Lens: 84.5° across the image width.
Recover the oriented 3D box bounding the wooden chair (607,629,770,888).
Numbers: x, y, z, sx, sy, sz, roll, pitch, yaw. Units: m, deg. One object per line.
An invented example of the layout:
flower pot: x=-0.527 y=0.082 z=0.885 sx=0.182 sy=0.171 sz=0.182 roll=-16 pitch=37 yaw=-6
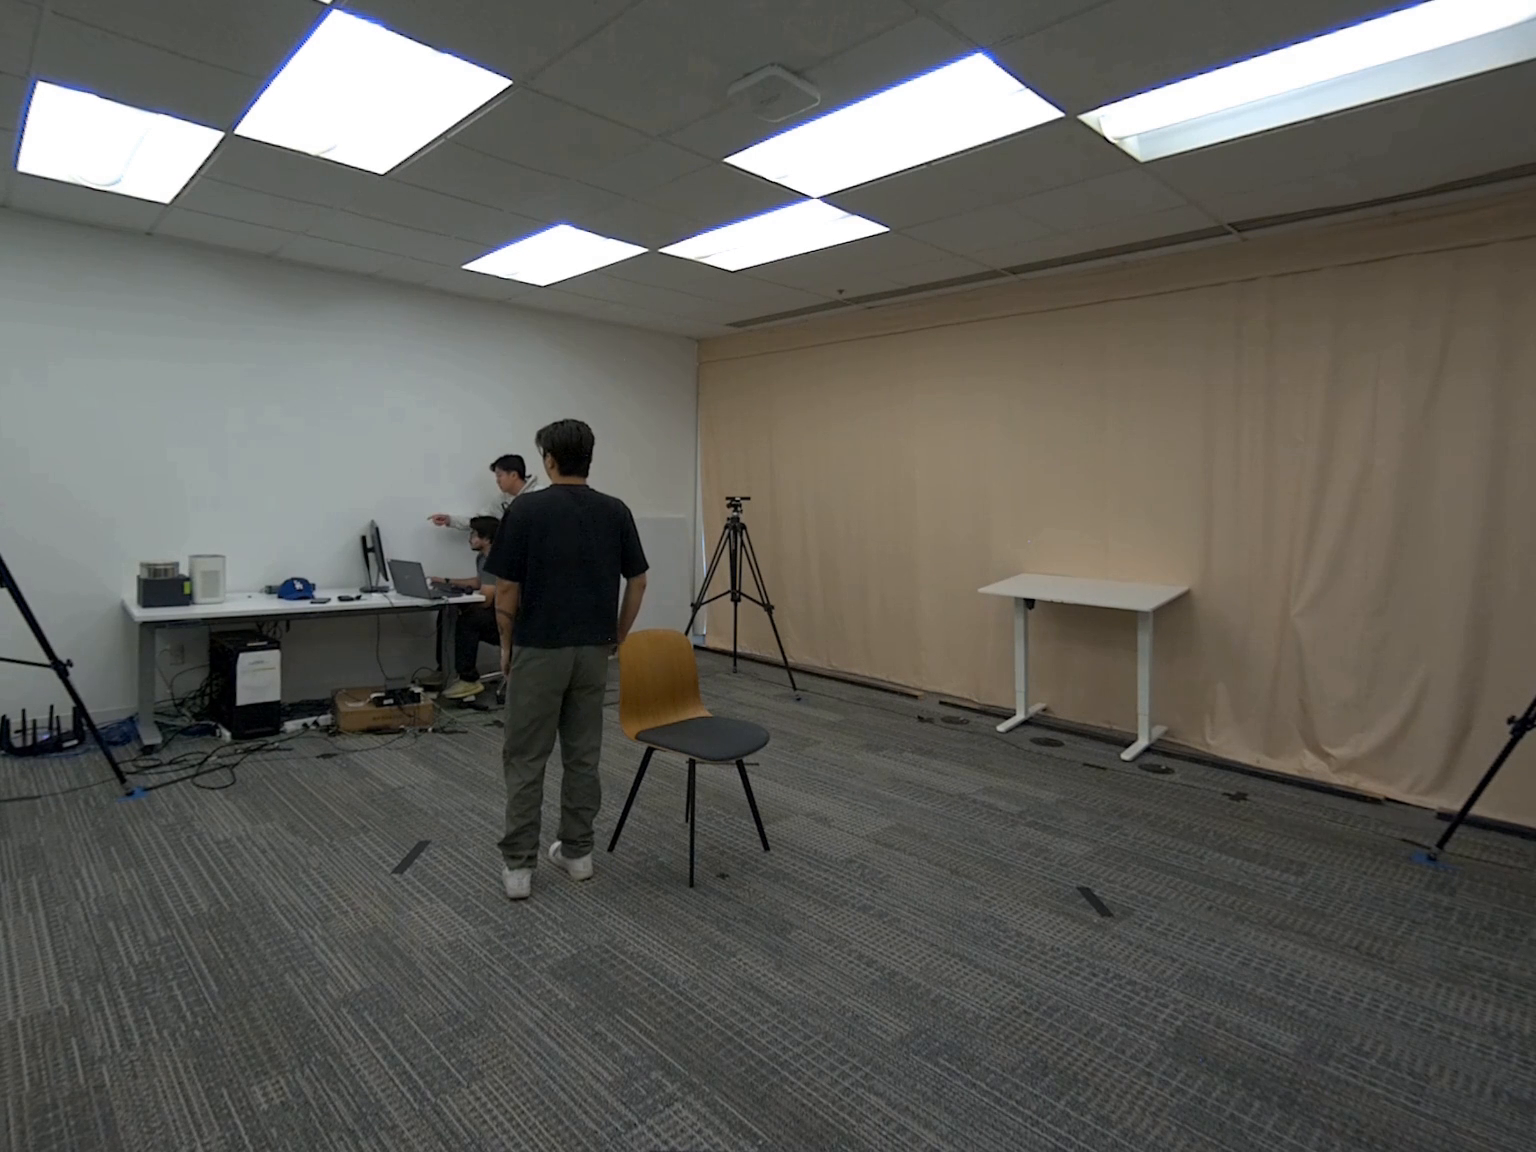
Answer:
wooden chair: x=-0.296 y=0.659 z=3.282 sx=0.535 sy=0.877 sz=0.467 roll=-1 pitch=1 yaw=39
